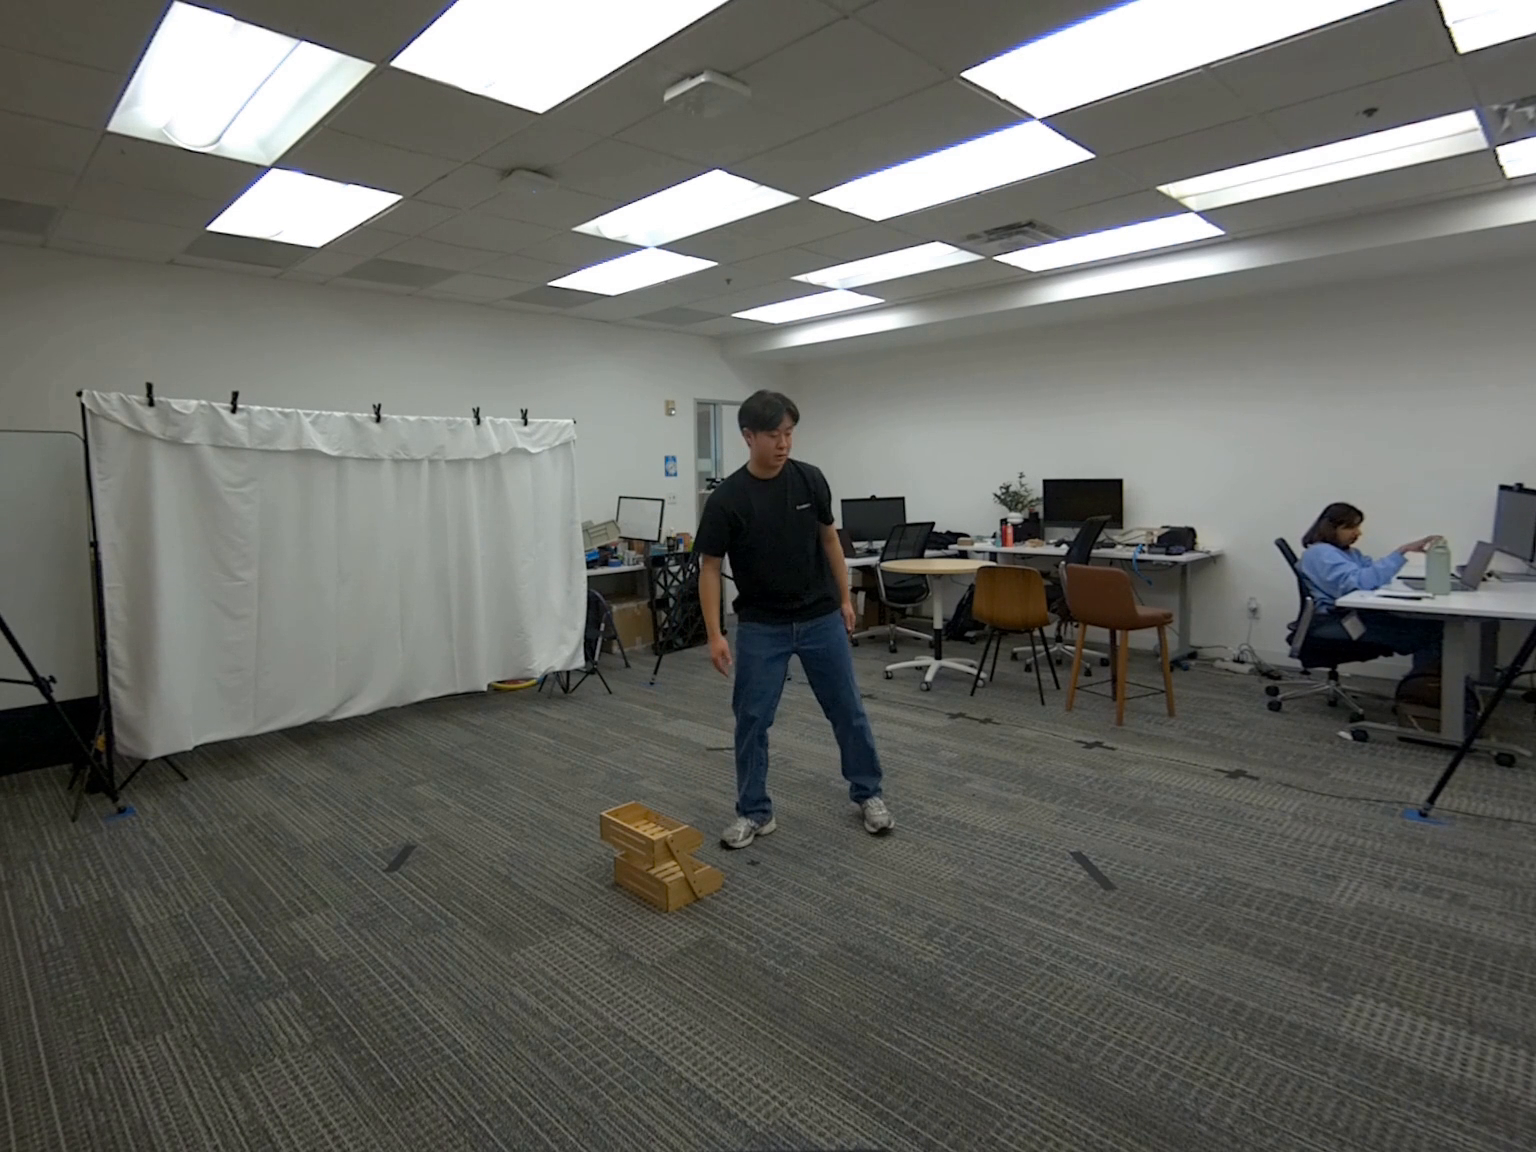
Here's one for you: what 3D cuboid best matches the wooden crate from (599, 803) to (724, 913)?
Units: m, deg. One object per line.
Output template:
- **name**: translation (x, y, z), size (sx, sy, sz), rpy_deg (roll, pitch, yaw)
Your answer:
- **wooden crate**: translation (-0.358, 0.935, 2.925), size (0.294, 0.272, 0.334), rpy_deg (-7, 8, -44)
